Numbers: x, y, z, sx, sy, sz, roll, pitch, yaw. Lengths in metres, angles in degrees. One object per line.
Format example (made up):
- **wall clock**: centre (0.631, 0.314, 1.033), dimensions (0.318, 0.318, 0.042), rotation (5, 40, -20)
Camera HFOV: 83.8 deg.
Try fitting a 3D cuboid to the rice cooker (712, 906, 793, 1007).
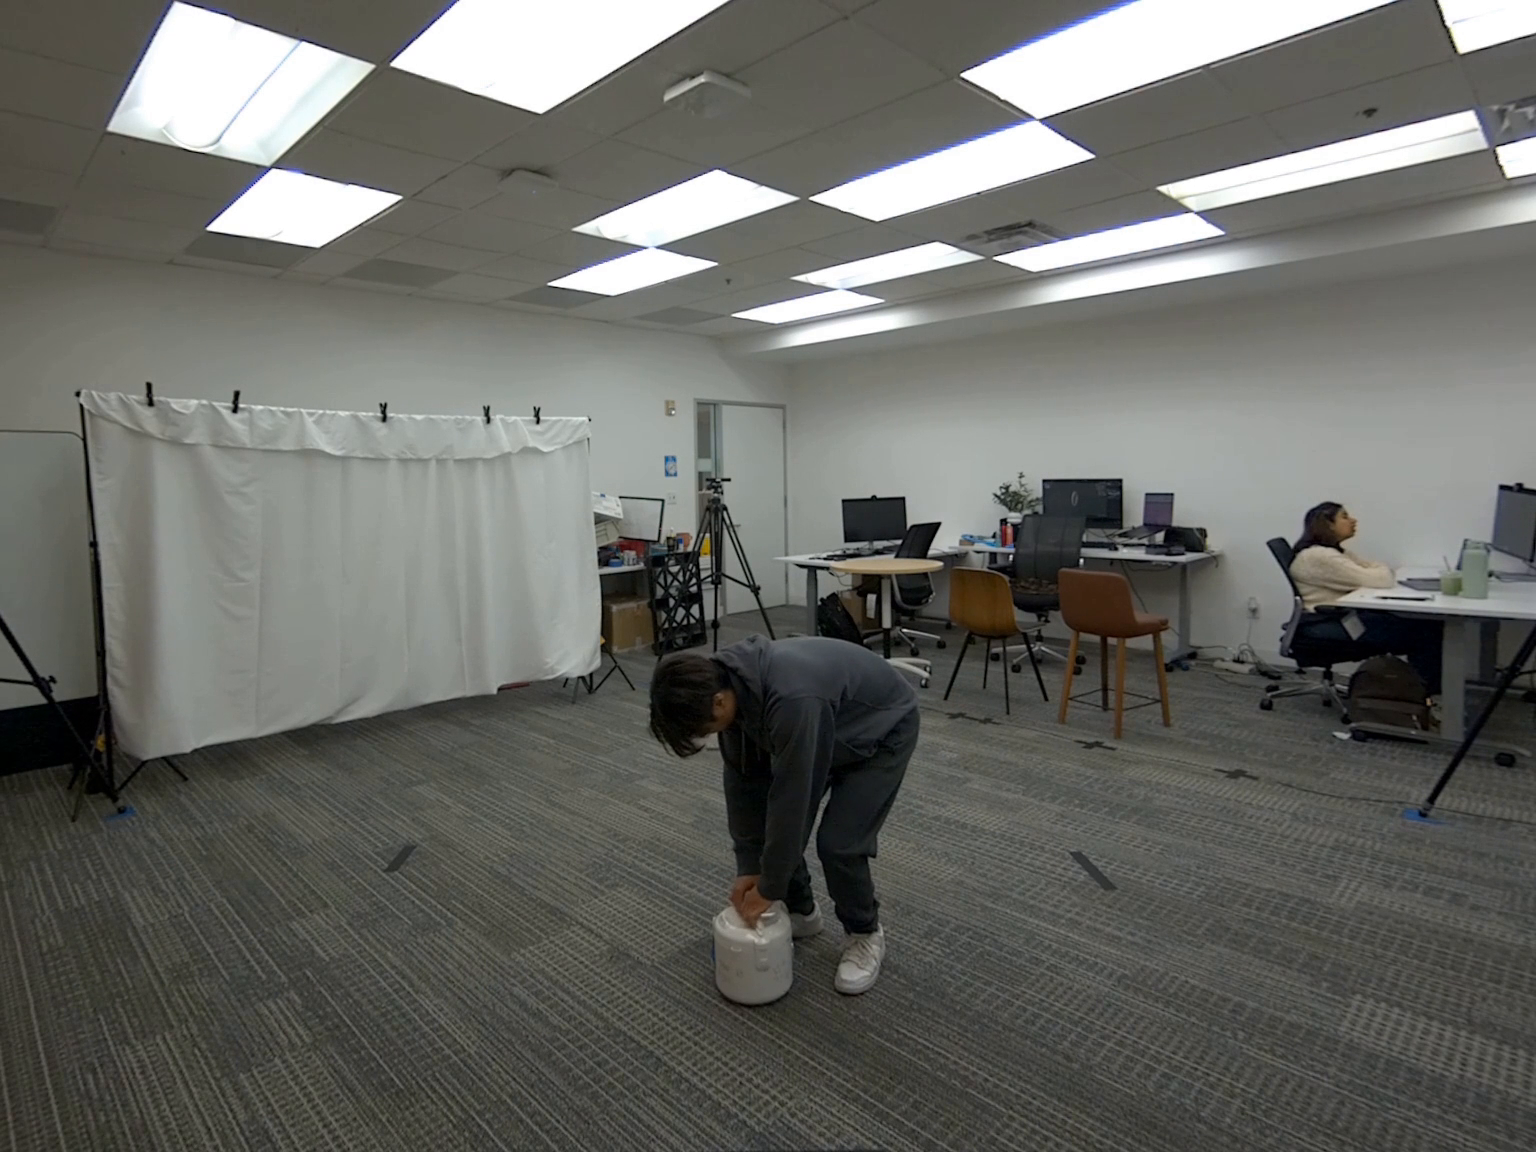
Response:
- **rice cooker**: centre (-0.027, 1.017, 2.345), dimensions (0.215, 0.232, 0.224), rotation (-4, 6, -14)
